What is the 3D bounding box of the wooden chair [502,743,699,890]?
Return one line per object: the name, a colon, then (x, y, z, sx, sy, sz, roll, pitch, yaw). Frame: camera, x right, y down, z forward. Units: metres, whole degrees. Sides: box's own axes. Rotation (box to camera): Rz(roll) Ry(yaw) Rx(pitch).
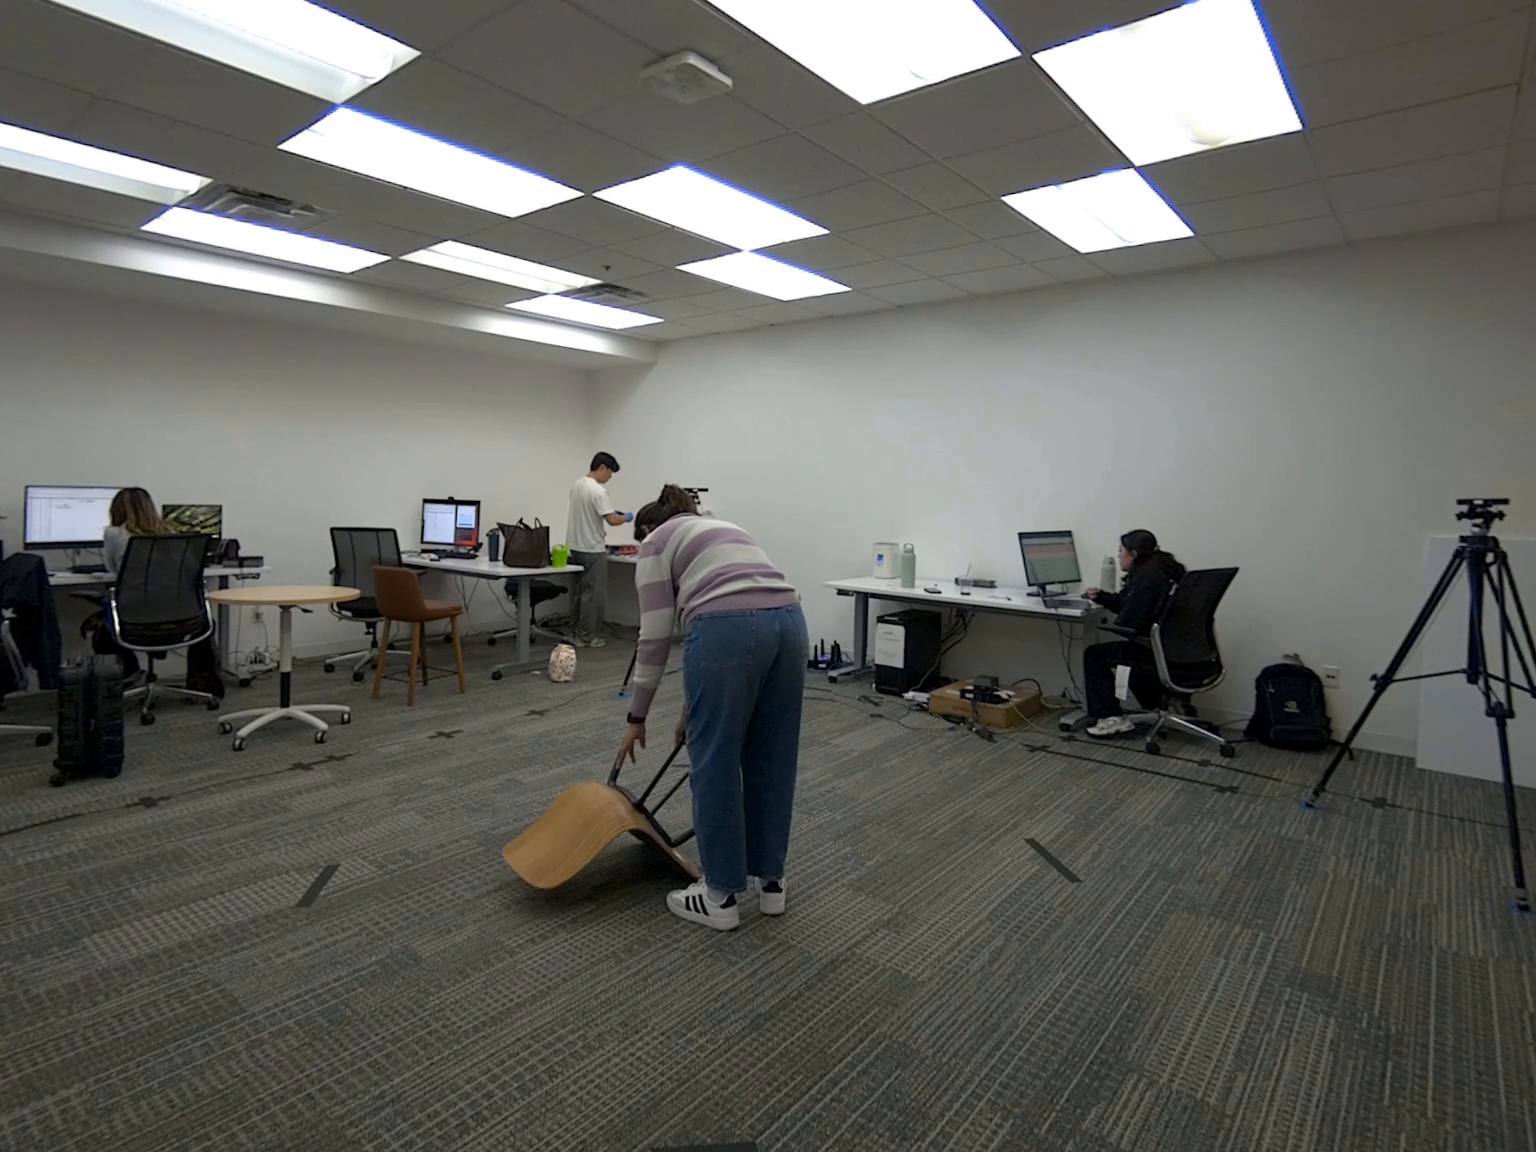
wooden chair: (-0.472, 0.872, 3.097, 0.876, 0.507, 0.494, -45, 27, -23)
